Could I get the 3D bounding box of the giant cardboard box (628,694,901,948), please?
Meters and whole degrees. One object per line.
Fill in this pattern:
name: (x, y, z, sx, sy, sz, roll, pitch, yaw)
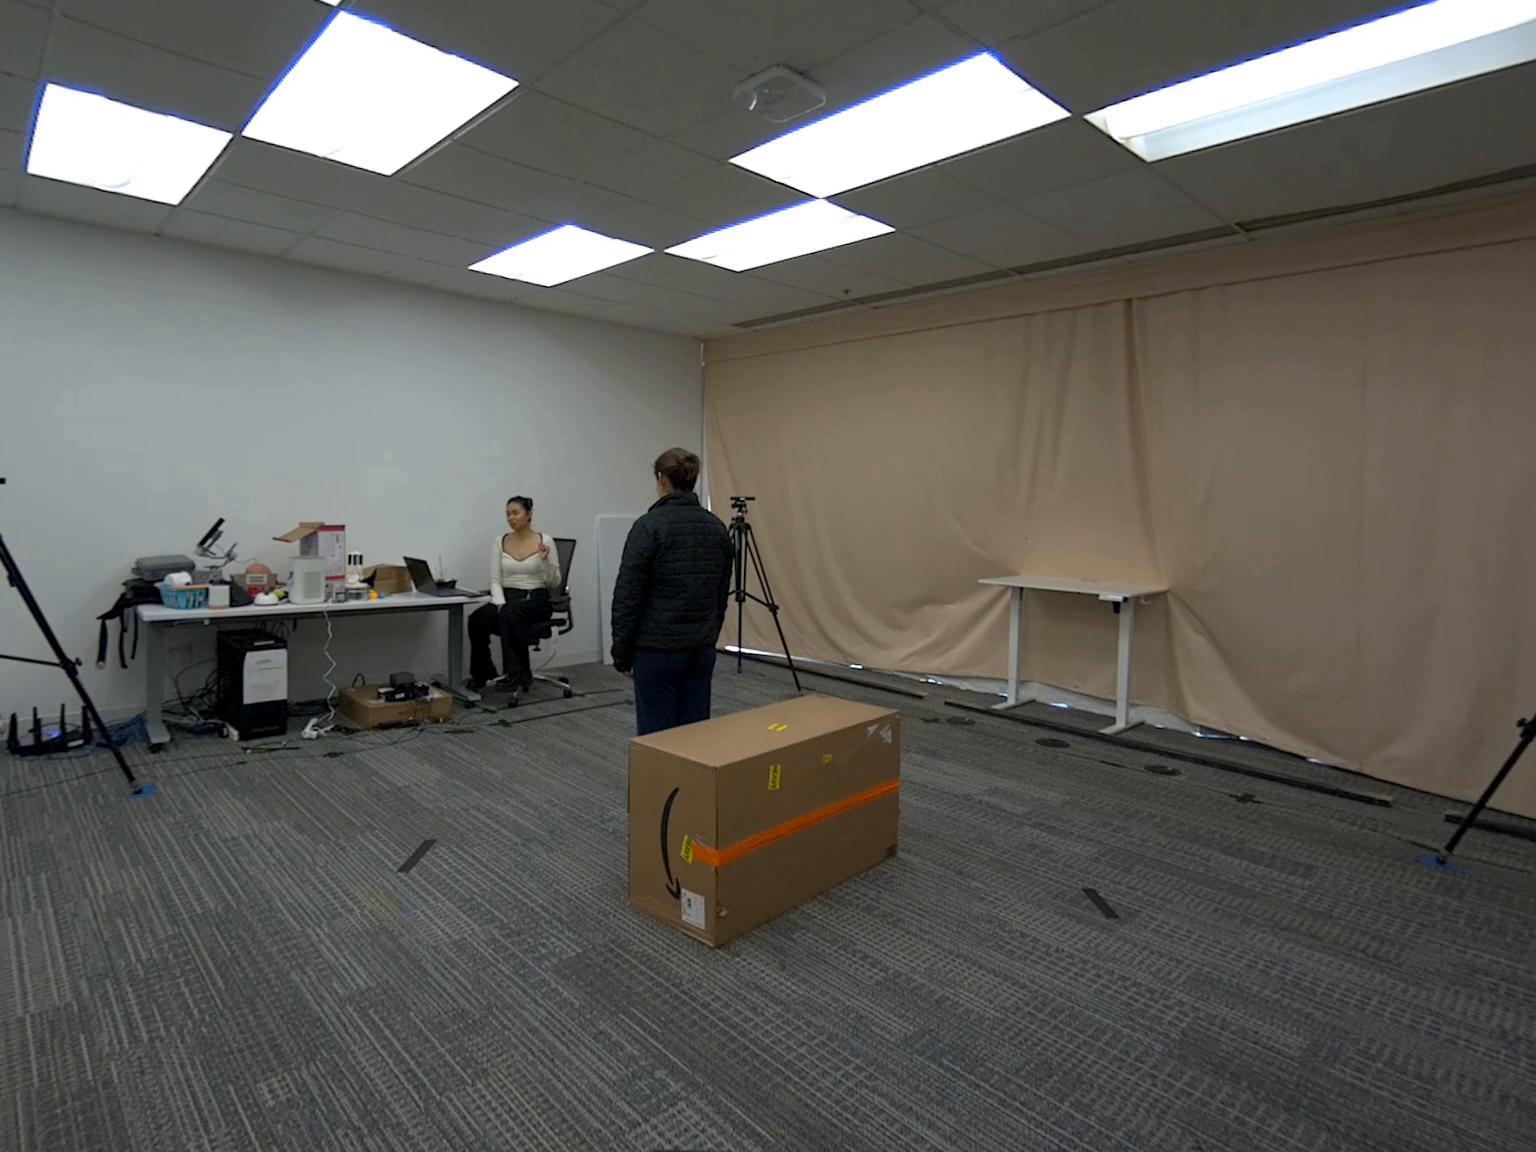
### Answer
giant cardboard box: (0.020, 0.828, 3.070, 0.437, 0.576, 1.003, 3, 5, 43)
